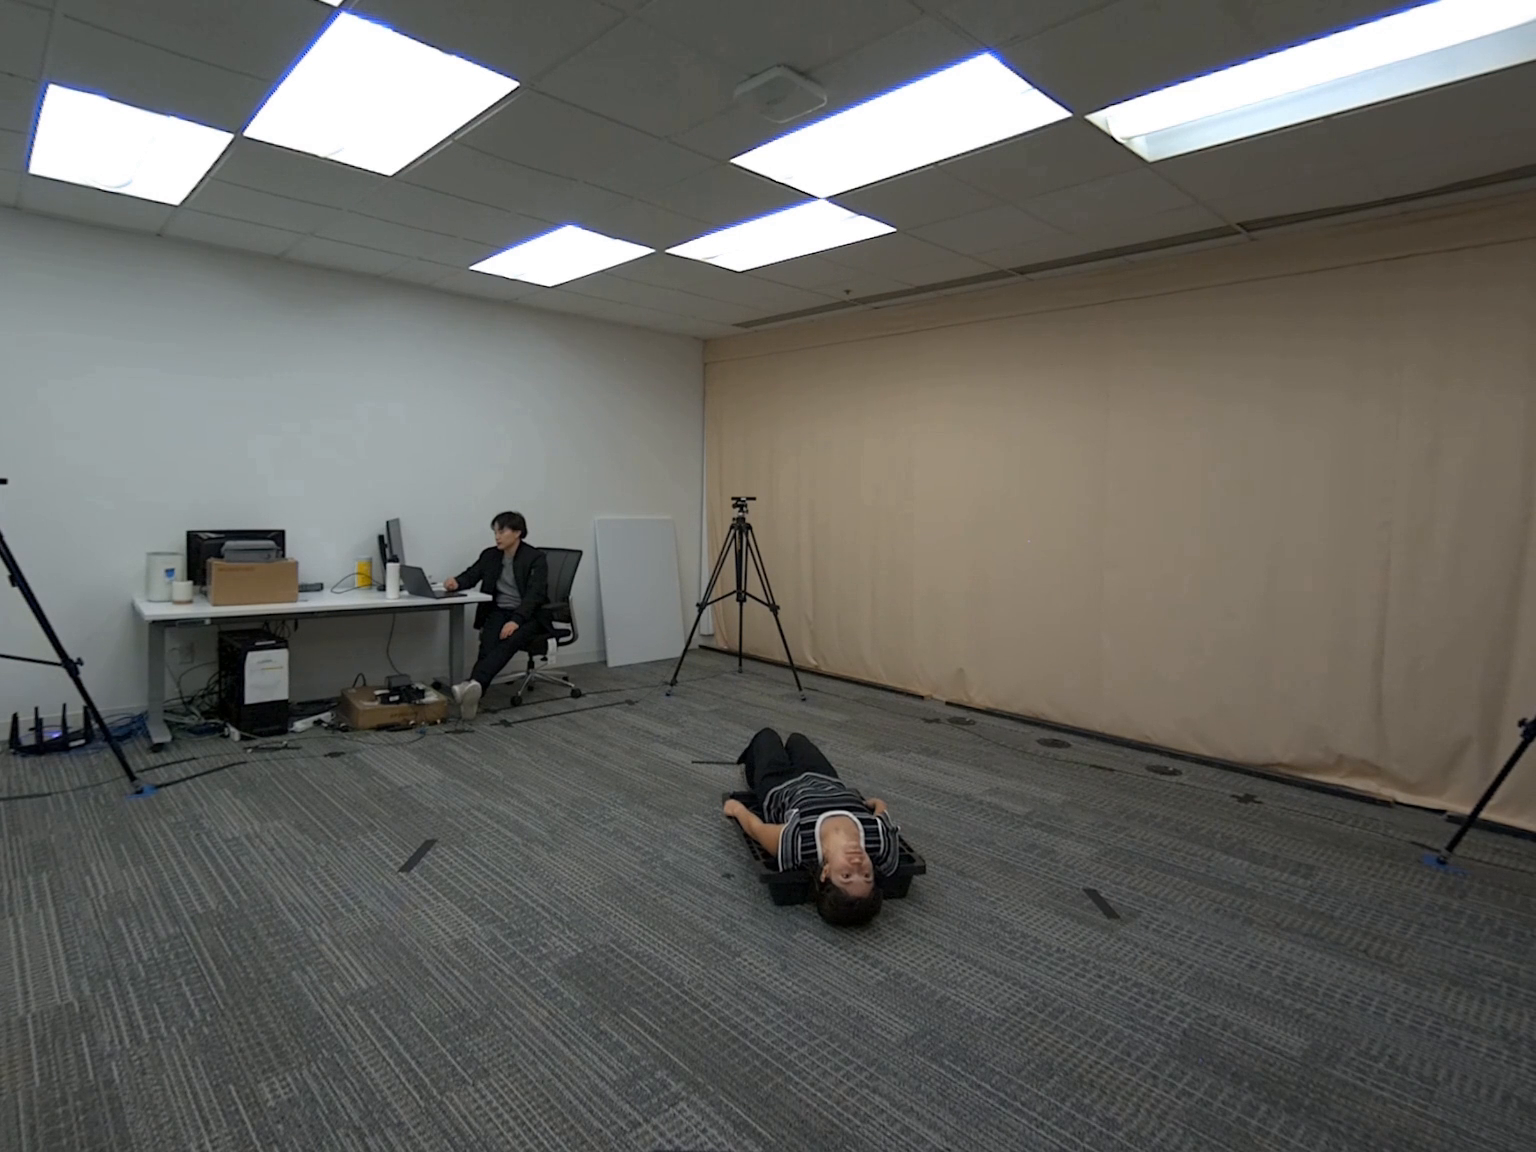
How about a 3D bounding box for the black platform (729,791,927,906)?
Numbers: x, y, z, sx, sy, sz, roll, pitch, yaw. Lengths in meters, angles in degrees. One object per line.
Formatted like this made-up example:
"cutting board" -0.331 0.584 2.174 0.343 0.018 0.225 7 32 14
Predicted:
"black platform" 0.177 1.036 3.281 0.600 0.143 0.815 -1 5 -12
